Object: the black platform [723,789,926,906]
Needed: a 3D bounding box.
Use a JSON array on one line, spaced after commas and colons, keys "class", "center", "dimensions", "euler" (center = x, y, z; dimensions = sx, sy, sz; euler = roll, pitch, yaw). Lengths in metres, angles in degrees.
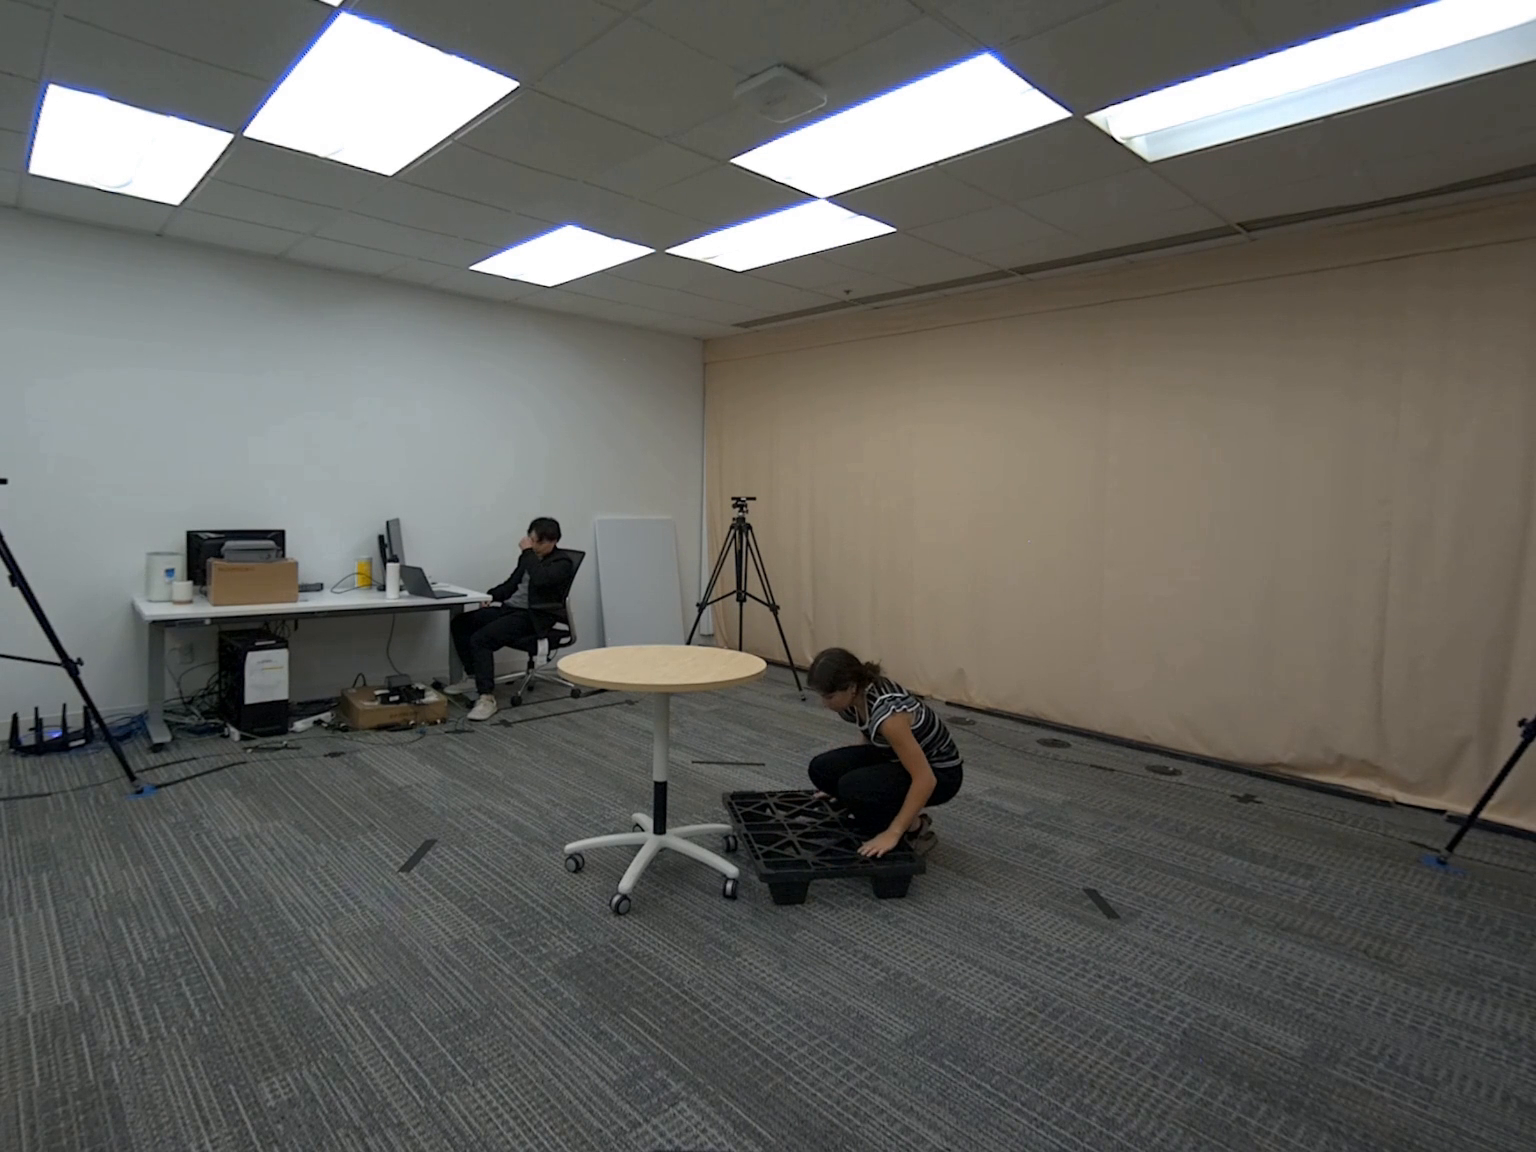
[{"class": "black platform", "center": [0.168, 1.027, 3.270], "dimensions": [0.600, 0.143, 0.815], "euler": [-1, 5, -12]}]
